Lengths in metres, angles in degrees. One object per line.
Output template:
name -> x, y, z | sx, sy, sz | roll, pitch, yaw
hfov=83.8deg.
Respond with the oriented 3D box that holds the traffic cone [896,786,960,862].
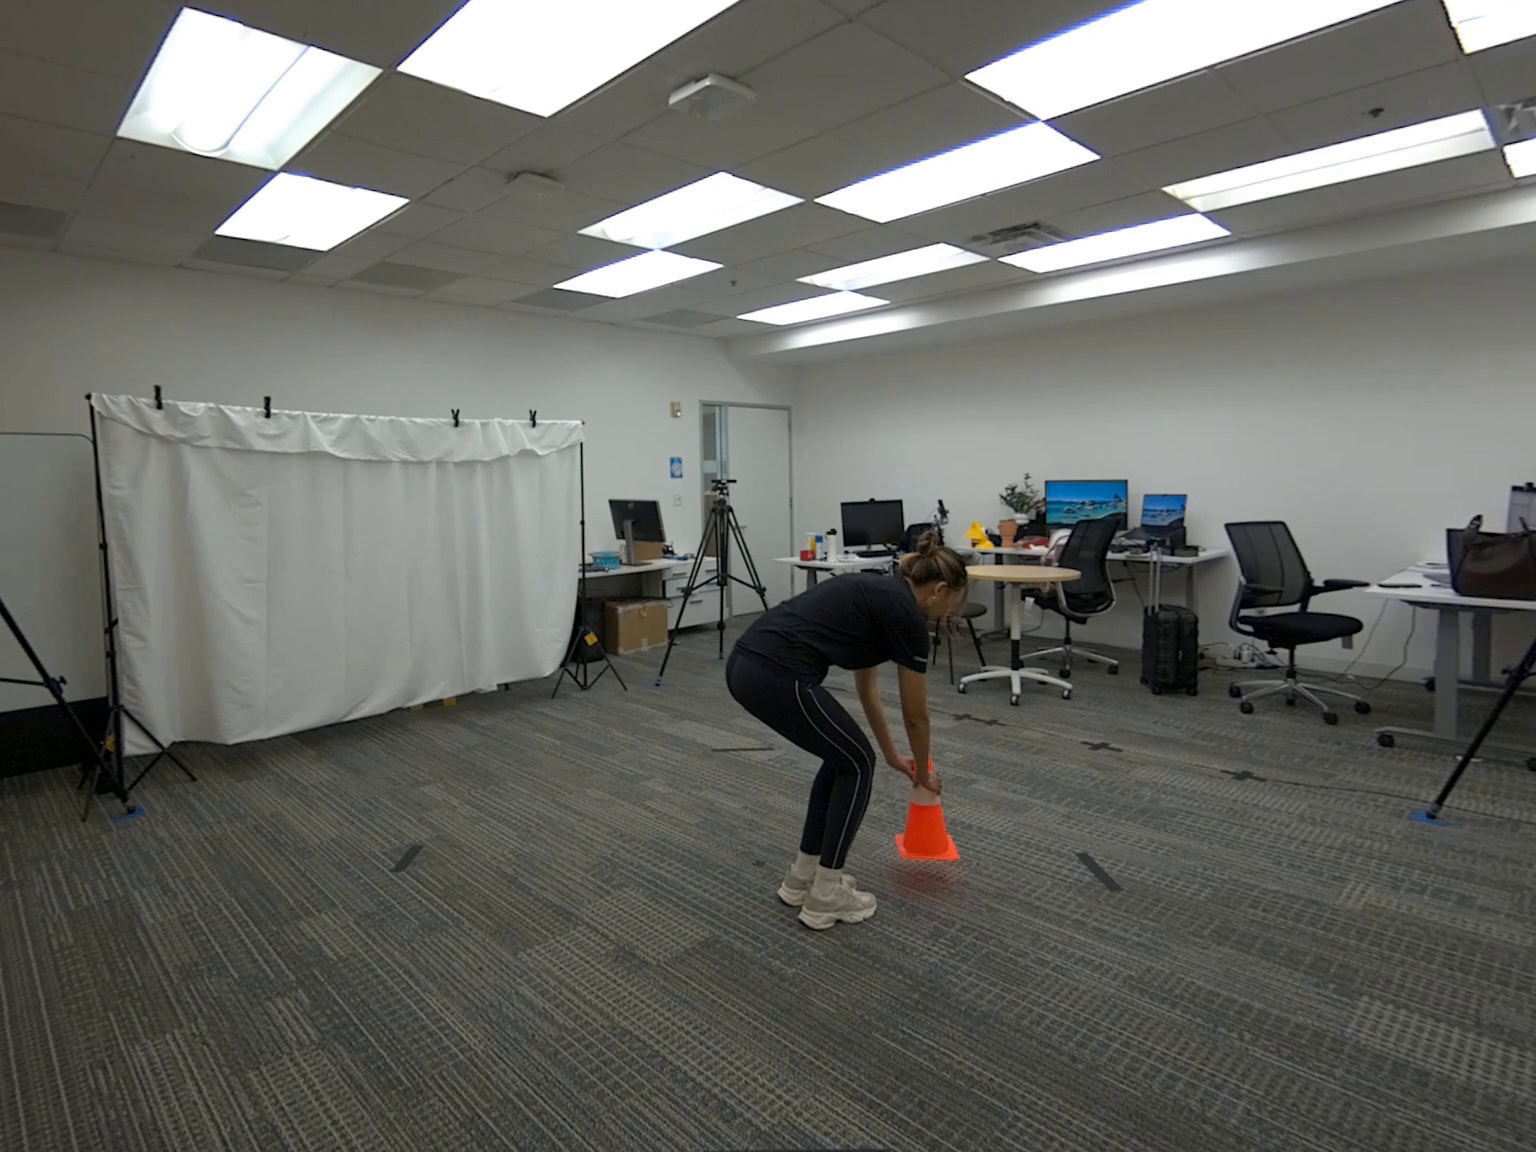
traffic cone -> 0.545, 0.750, 2.947 | 0.204, 0.381, 0.206 | -6, 7, 2
